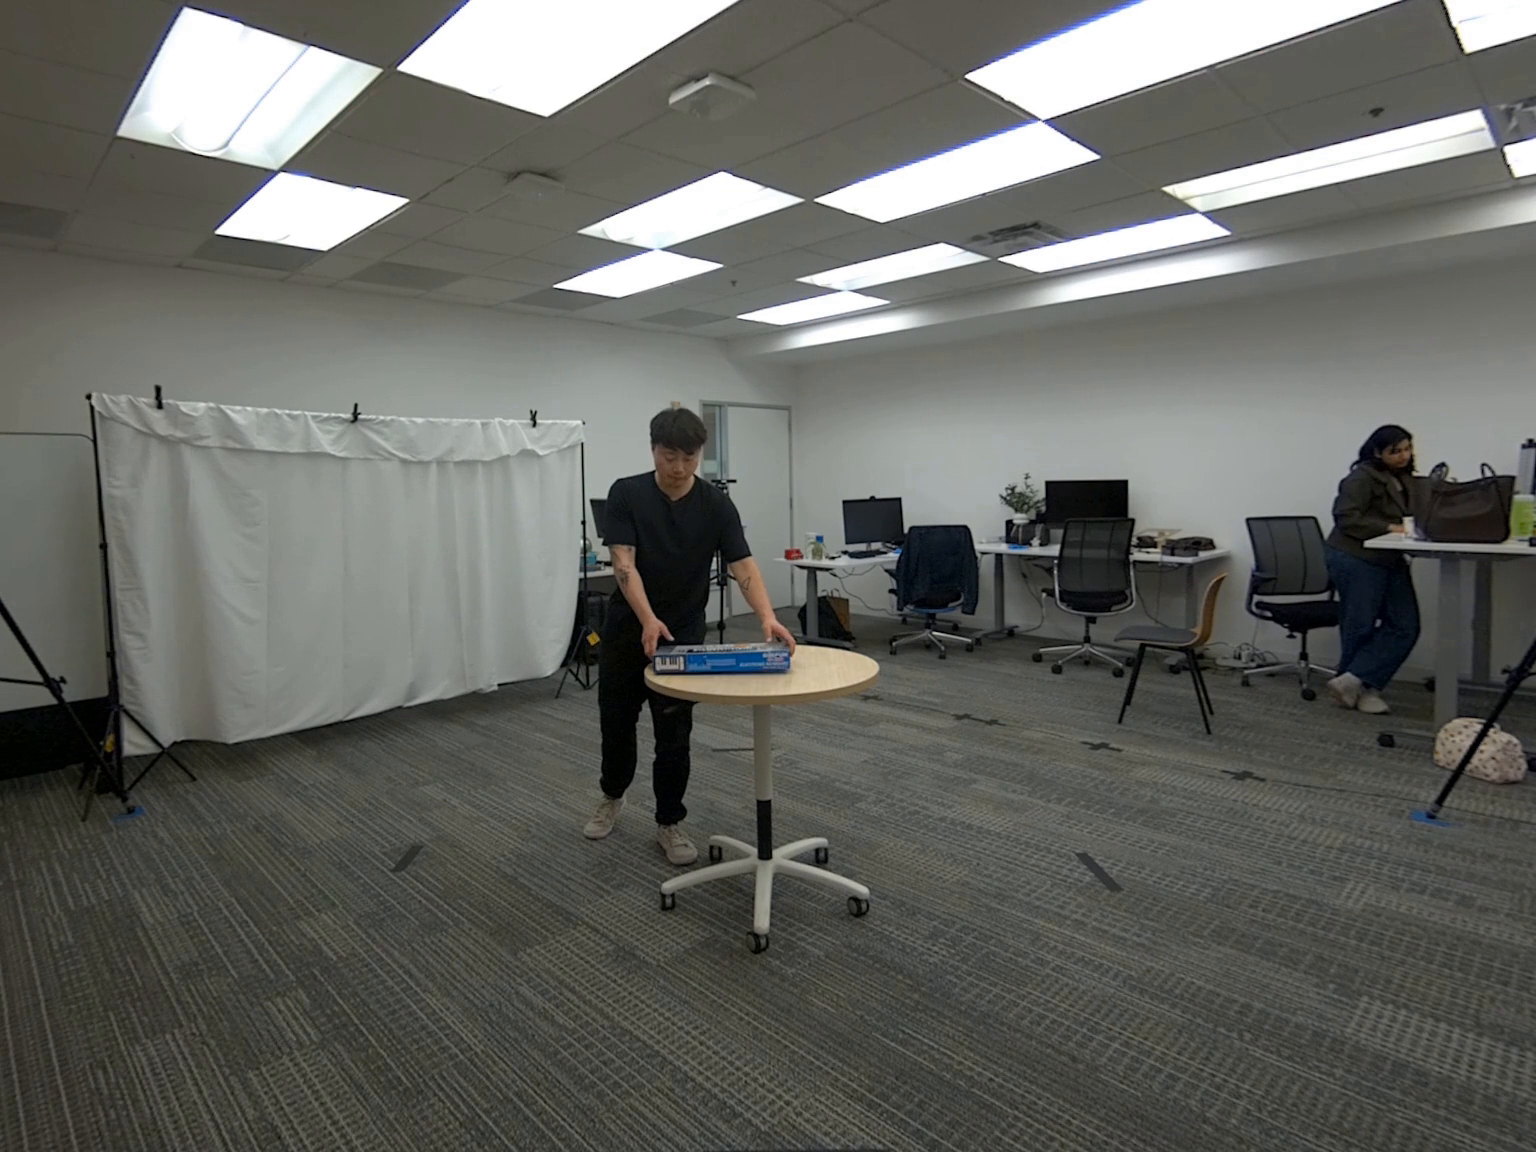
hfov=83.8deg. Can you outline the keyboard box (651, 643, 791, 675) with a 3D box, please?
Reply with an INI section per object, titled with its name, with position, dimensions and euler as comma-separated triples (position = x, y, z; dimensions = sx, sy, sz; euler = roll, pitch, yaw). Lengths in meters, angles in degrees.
[keyboard box]
position = -0.143, 0.260, 2.772
dimensions = 0.438, 0.059, 0.176
euler = -2, 5, 3
